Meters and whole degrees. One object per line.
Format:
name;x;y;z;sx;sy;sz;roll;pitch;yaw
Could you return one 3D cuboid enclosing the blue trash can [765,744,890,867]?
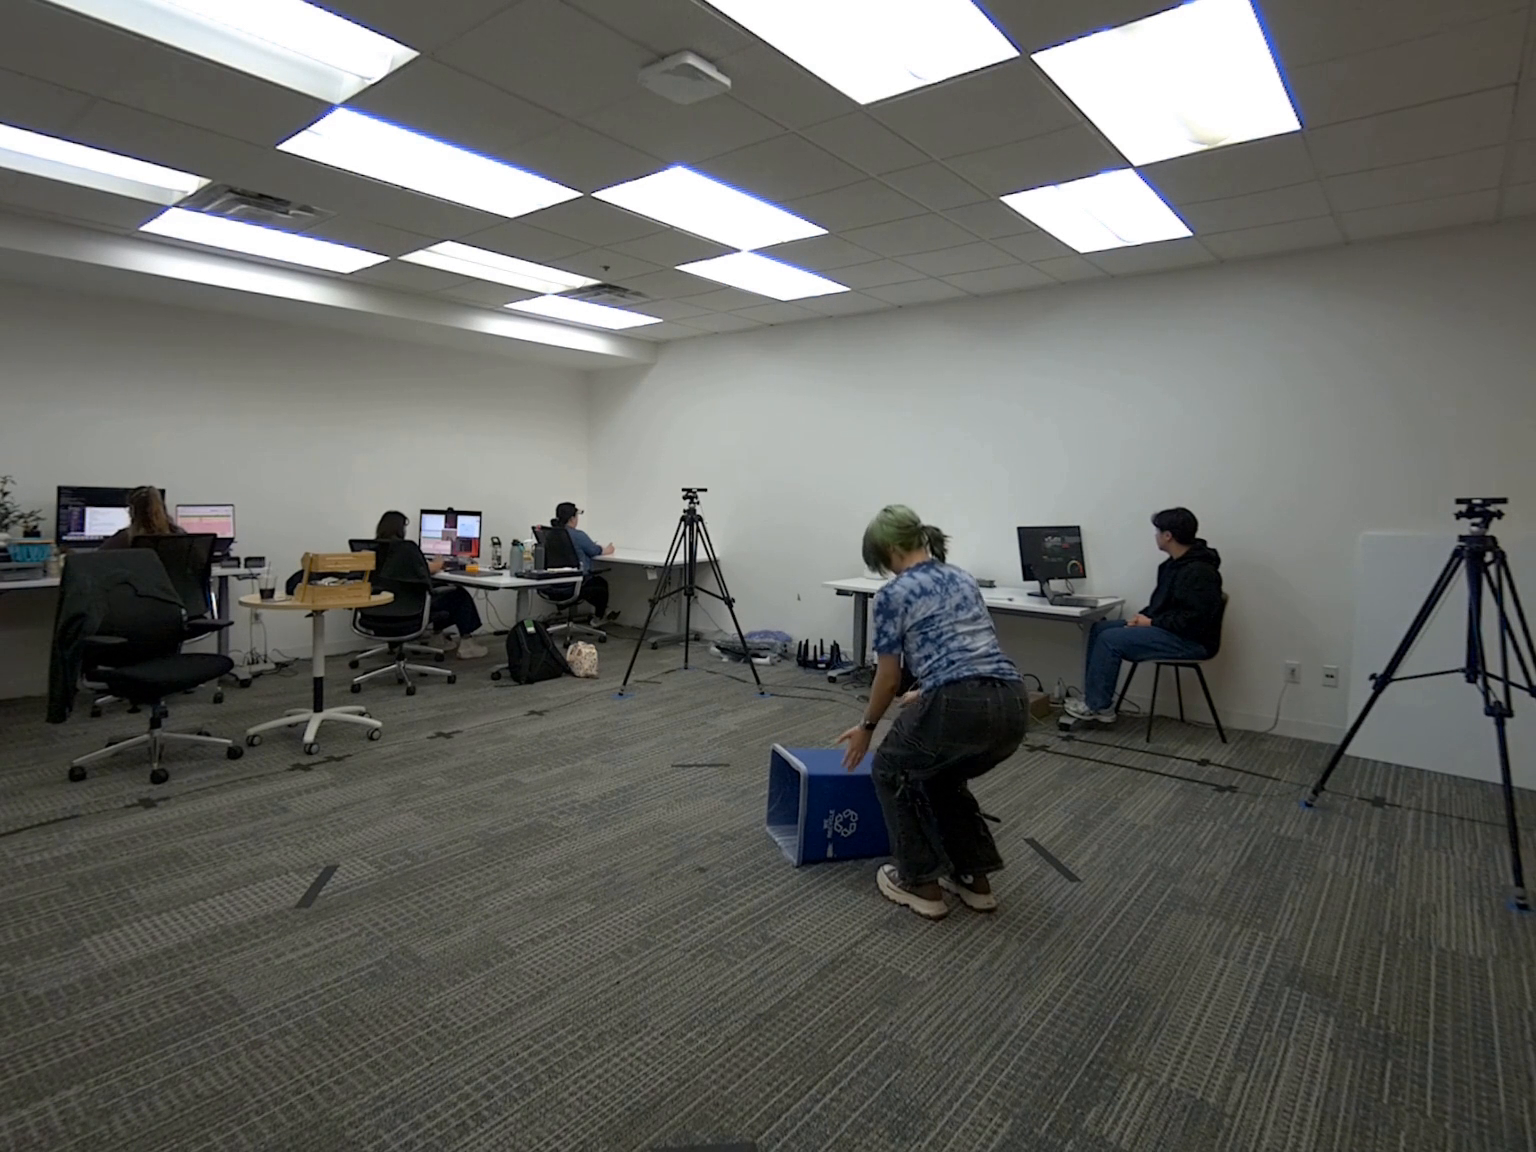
blue trash can;0.379;0.877;3.391;0.701;0.373;0.386;1;4;-17
